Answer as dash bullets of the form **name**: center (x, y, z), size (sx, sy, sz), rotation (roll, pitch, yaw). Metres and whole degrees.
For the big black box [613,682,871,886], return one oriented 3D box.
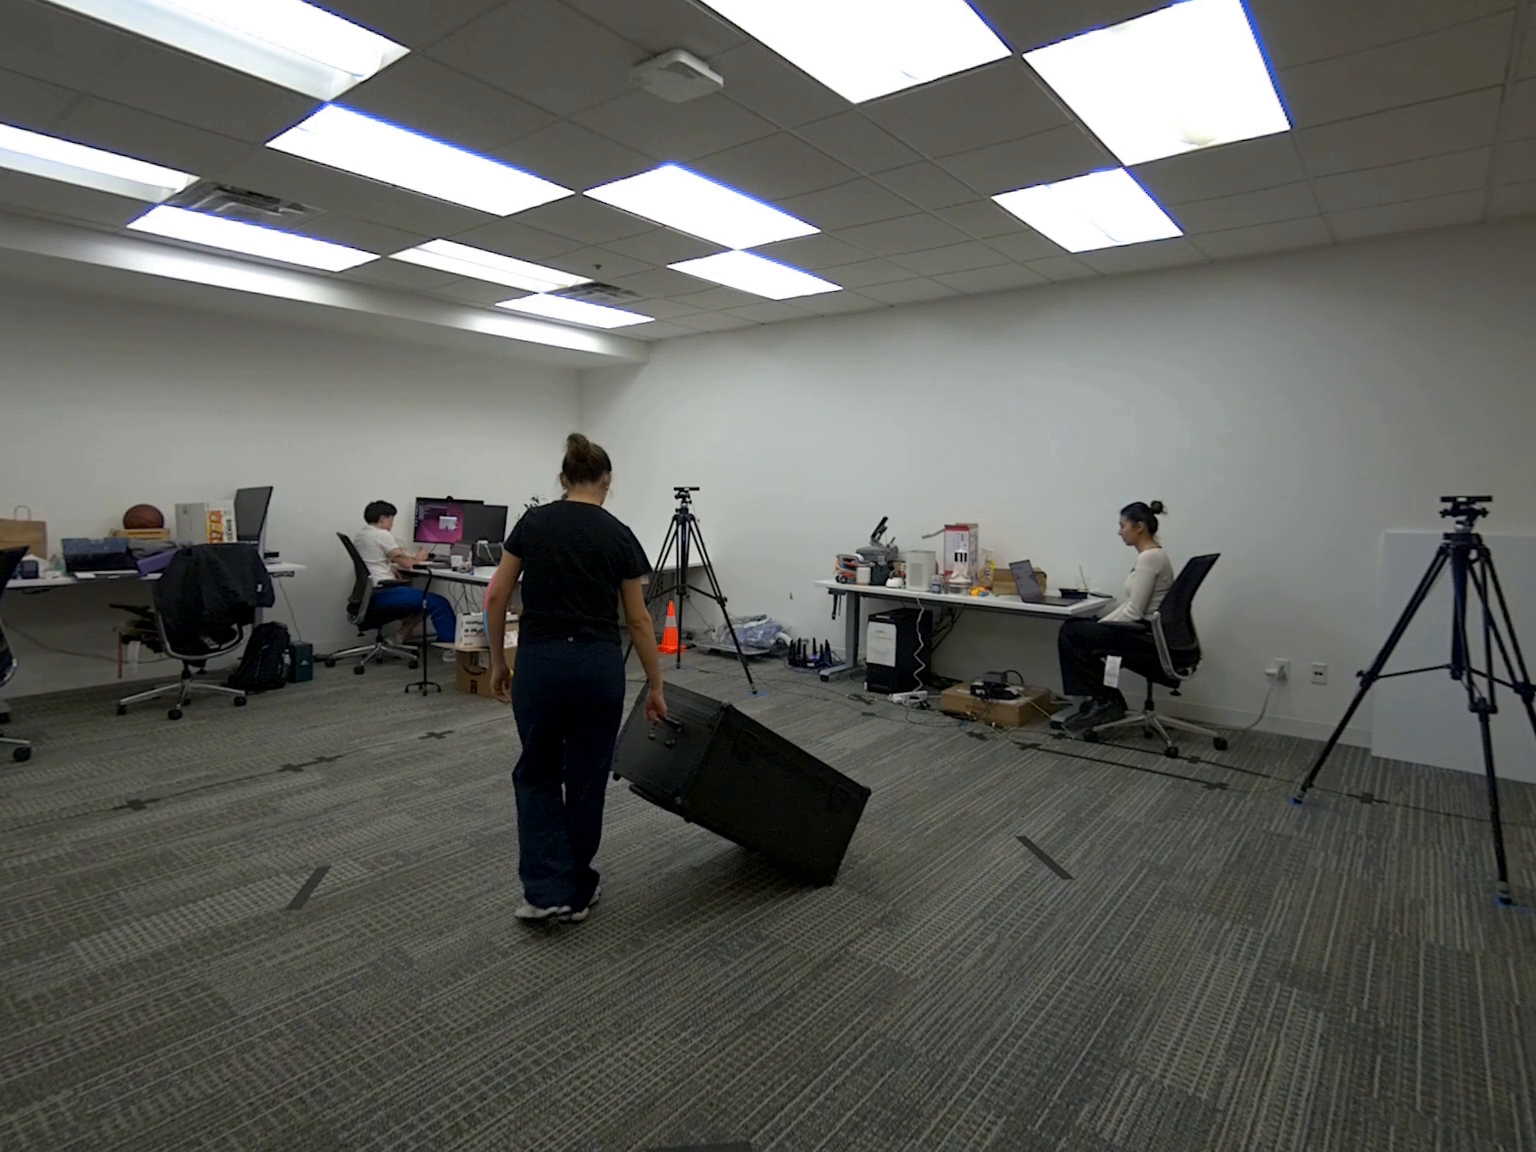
- **big black box**: center (-0.067, 0.744, 3.054), size (0.829, 0.398, 0.538), rotation (36, -18, -33)
